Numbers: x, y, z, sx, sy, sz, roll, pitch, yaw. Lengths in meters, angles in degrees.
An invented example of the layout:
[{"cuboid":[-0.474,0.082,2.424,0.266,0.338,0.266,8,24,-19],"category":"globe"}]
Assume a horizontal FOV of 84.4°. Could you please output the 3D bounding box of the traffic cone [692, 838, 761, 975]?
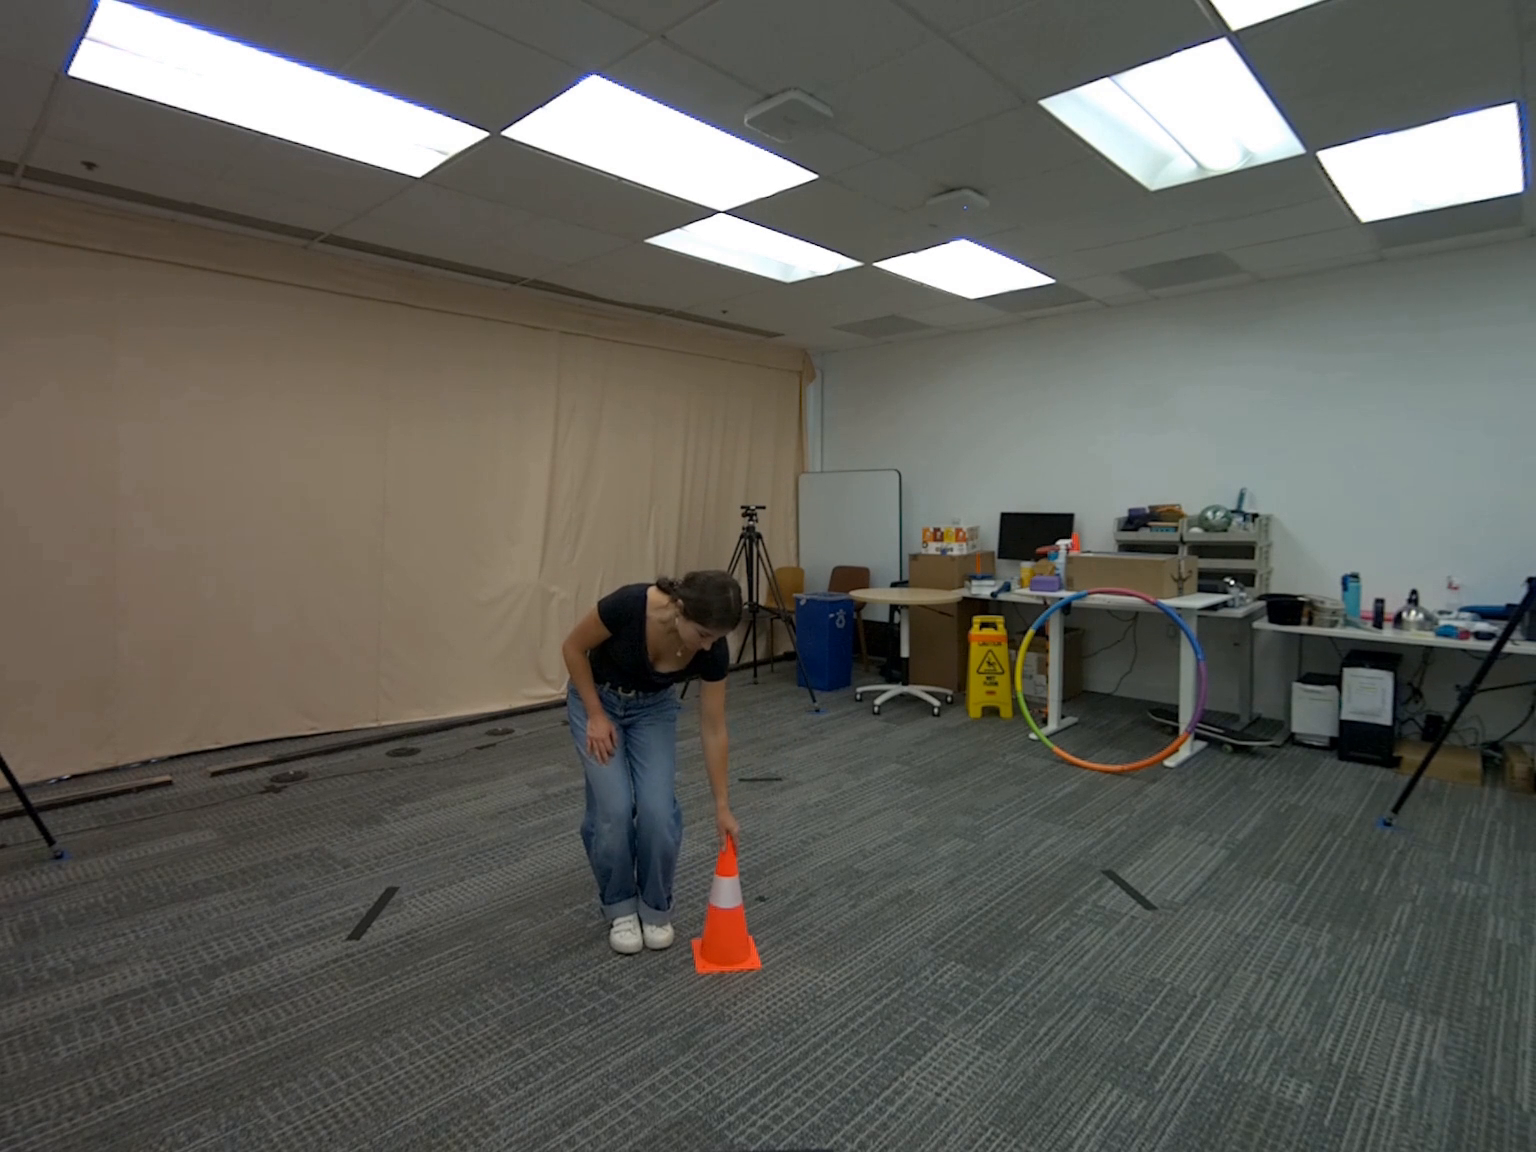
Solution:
[{"cuboid":[-0.111,0.991,2.606,0.202,0.384,0.206,6,-1,-4],"category":"traffic cone"}]
